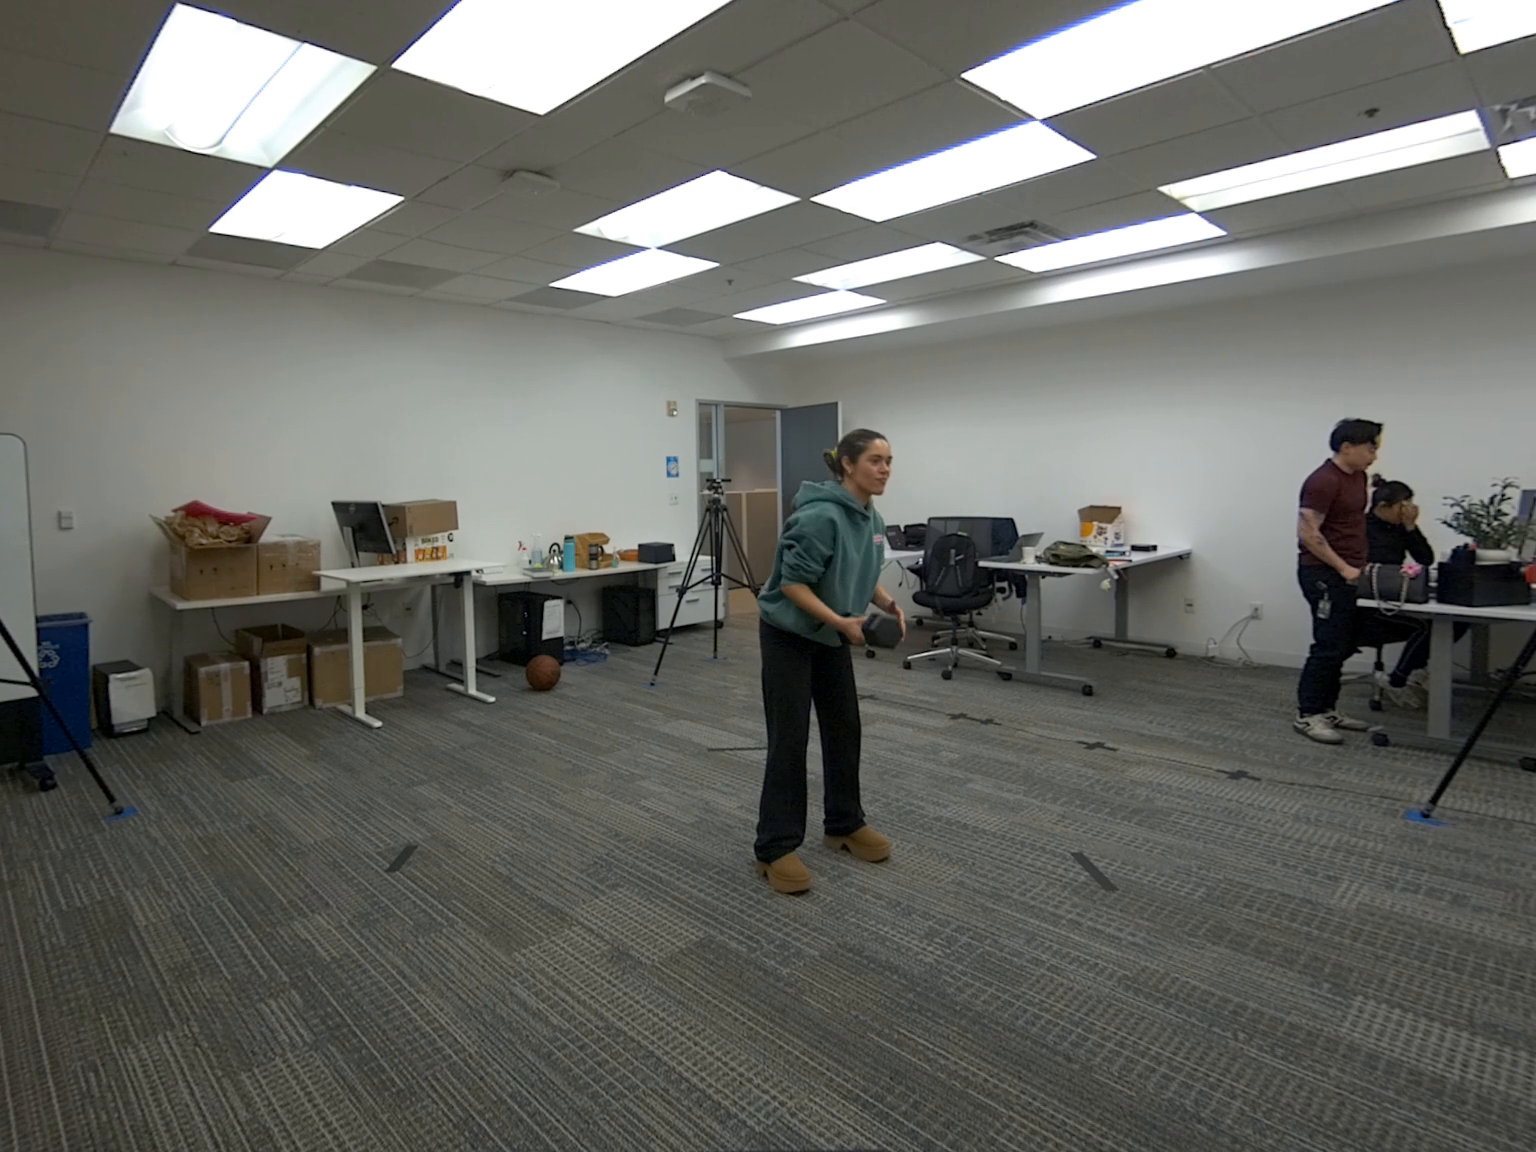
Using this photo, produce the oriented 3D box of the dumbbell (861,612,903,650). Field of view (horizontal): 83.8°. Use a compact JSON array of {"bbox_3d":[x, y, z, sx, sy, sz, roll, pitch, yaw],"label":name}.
[{"bbox_3d":[0.337,0.188,2.794,0.107,0.123,0.296,39,-12,-10],"label":"dumbbell"}]
